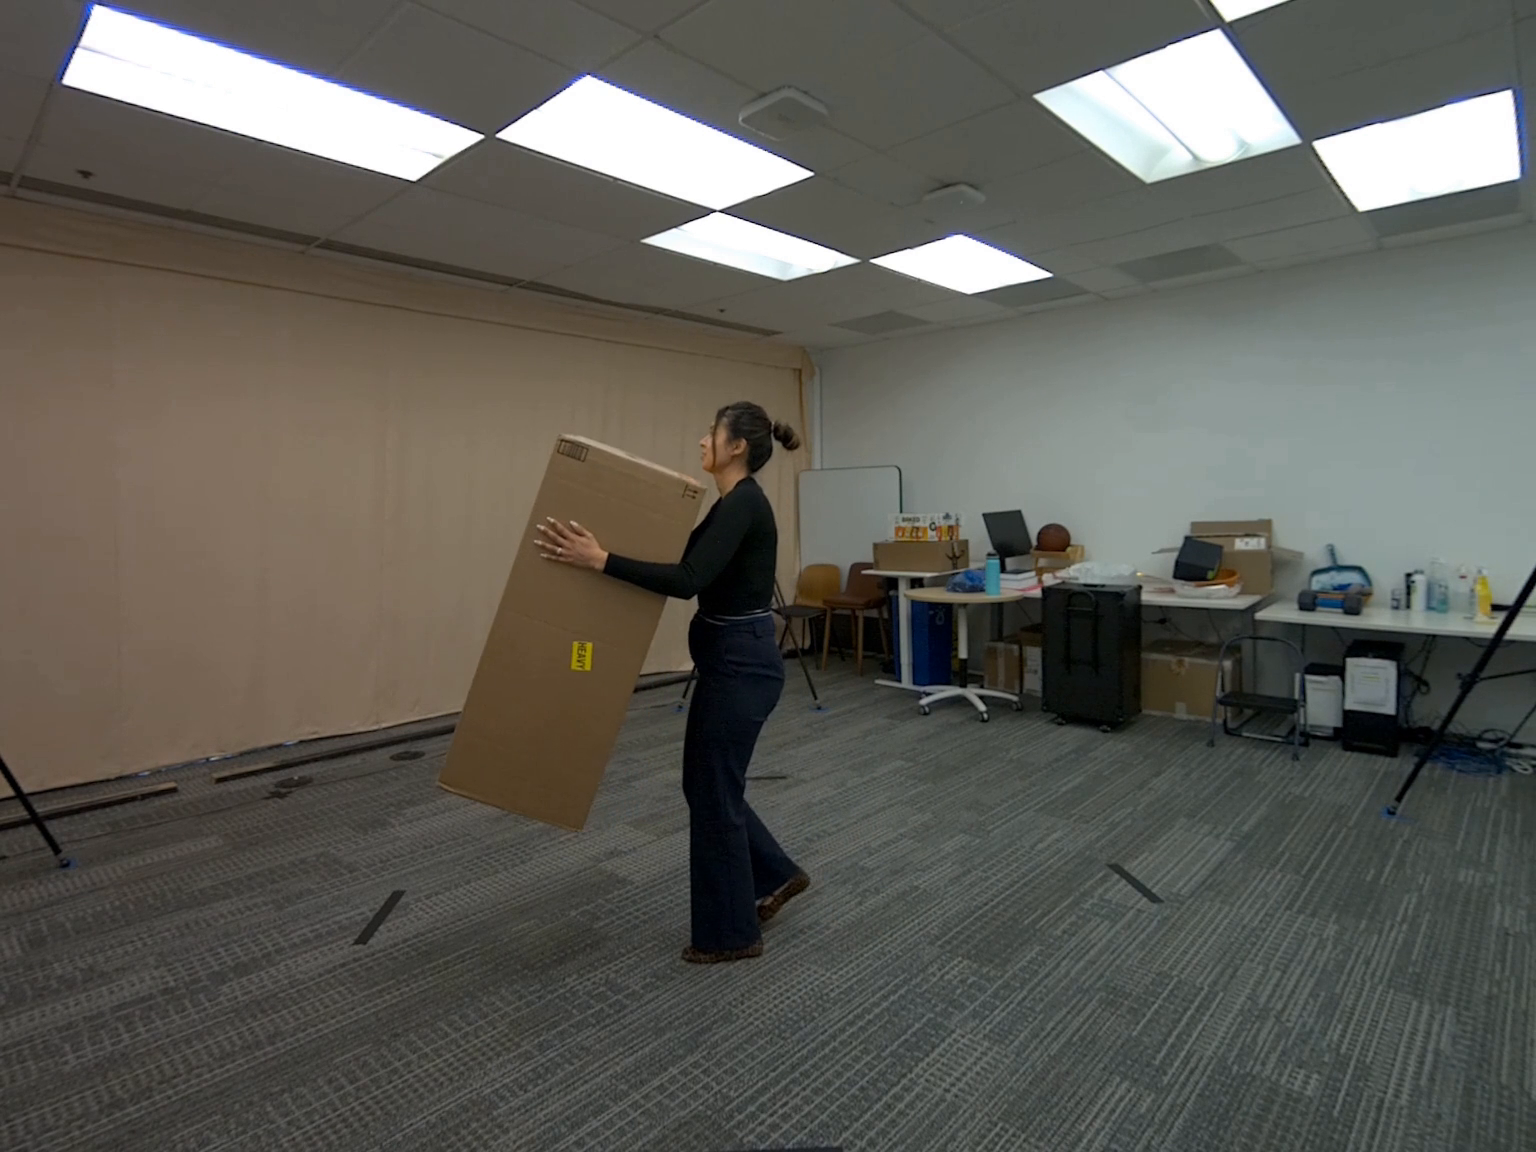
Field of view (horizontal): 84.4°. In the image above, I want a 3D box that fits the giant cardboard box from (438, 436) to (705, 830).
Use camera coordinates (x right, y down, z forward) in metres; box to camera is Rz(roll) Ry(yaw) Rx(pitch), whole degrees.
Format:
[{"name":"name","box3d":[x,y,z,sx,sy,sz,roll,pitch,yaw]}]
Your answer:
[{"name":"giant cardboard box","box3d":[-0.576,0.126,2.556,0.422,1.024,0.584,20,5,-9]}]
